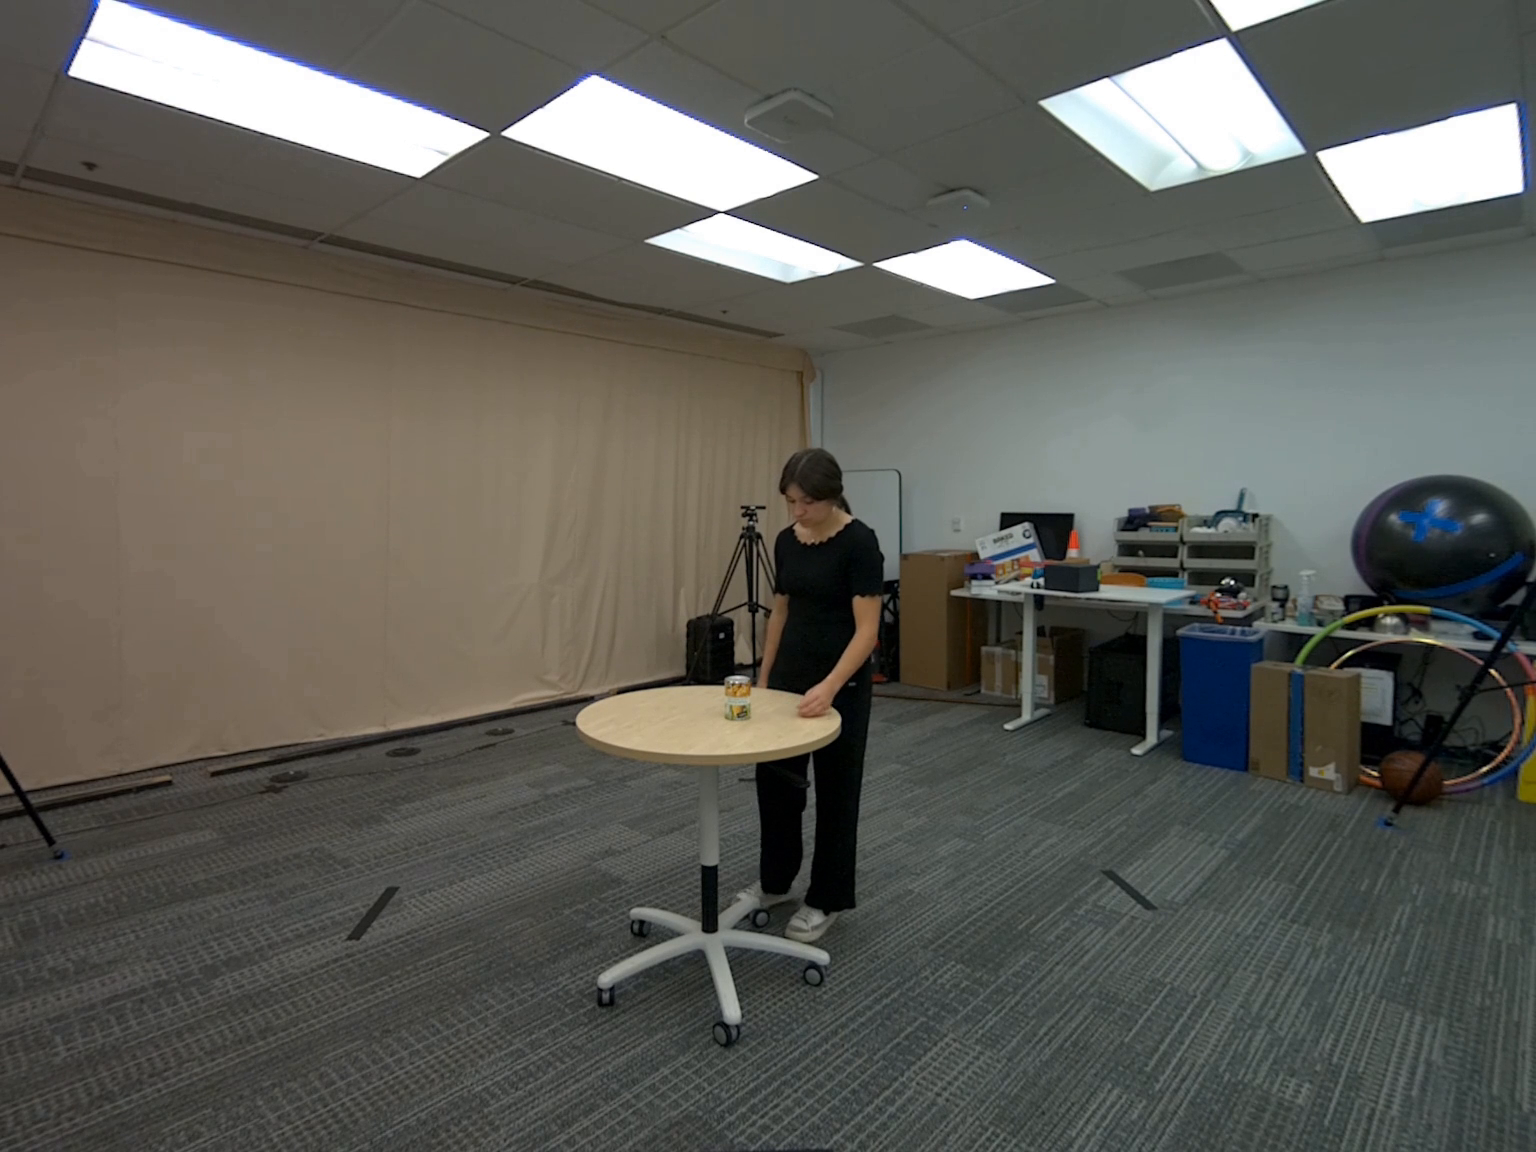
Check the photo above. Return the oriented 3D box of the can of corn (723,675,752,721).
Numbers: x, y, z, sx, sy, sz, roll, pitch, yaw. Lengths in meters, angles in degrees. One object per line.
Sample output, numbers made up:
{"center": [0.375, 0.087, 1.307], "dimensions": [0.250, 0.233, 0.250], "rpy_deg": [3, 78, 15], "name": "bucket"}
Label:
{"center": [-0.081, 0.352, 2.415], "dimensions": [0.074, 0.111, 0.074], "rpy_deg": [0, 4, -2], "name": "can of corn"}
